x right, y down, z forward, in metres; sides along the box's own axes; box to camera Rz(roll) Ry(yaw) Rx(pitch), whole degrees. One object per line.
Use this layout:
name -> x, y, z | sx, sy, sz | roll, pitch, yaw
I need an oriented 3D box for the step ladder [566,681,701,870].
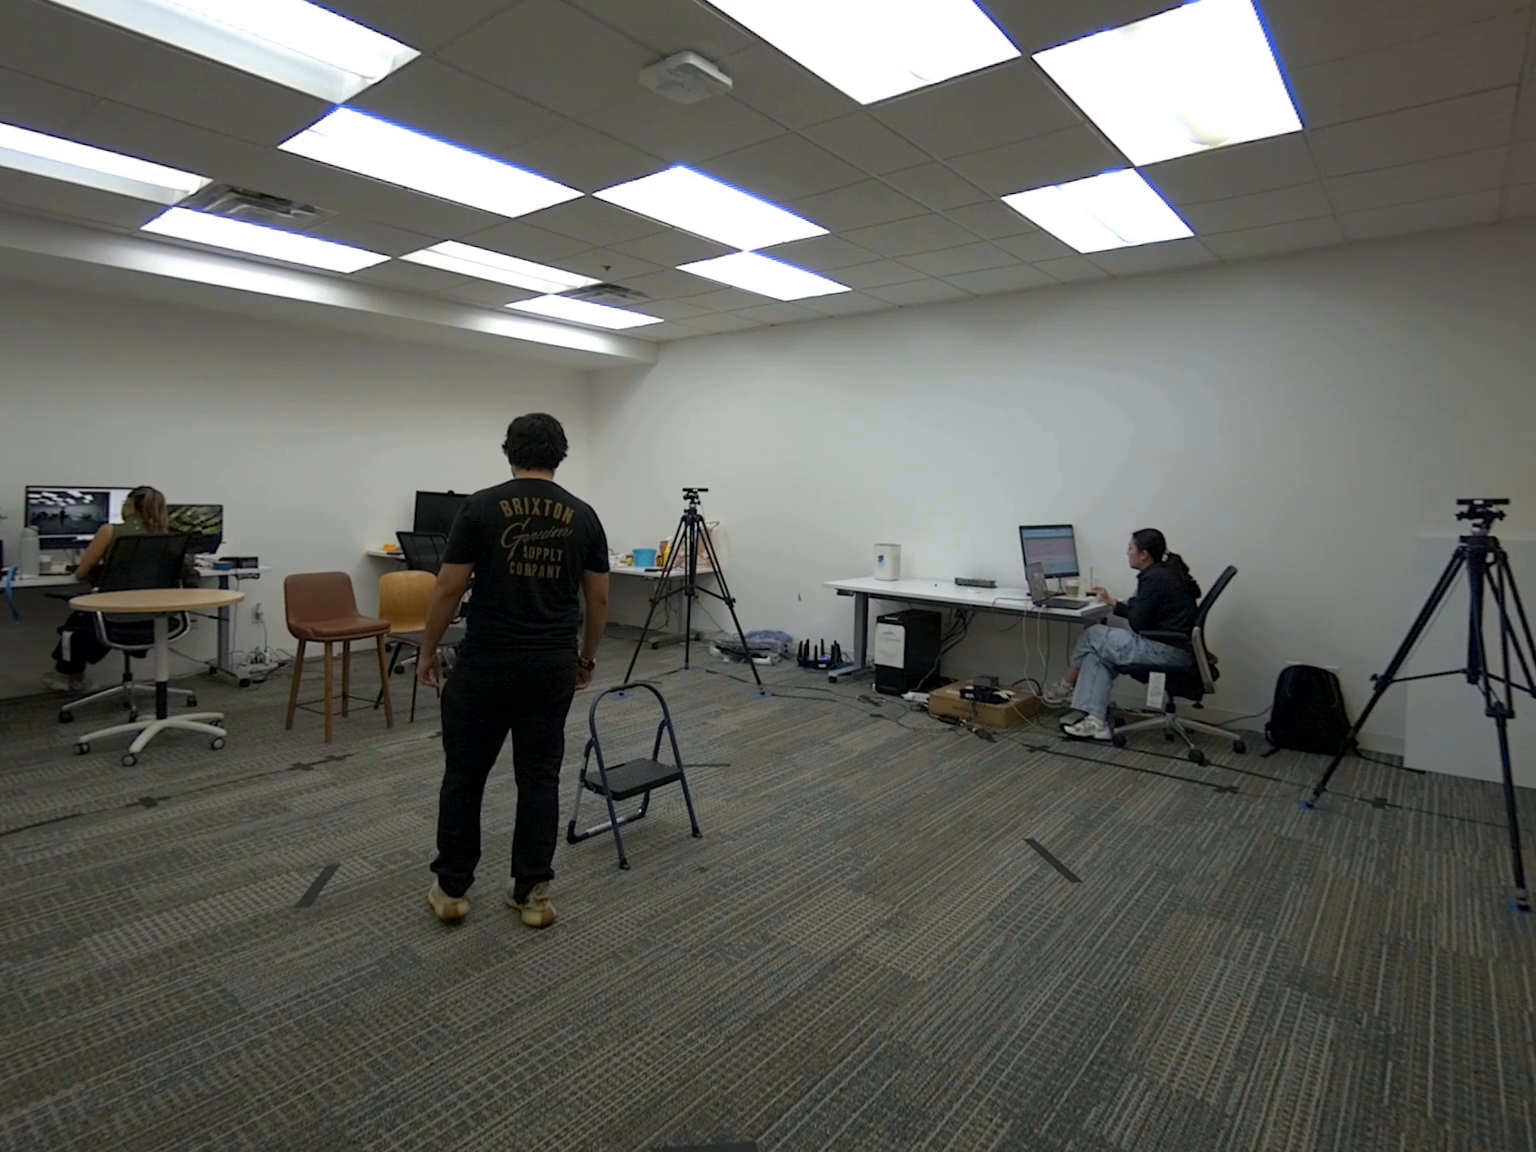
step ladder -> -0.531, 0.736, 3.348 | 0.361, 0.604, 0.418 | 4, 4, 39
